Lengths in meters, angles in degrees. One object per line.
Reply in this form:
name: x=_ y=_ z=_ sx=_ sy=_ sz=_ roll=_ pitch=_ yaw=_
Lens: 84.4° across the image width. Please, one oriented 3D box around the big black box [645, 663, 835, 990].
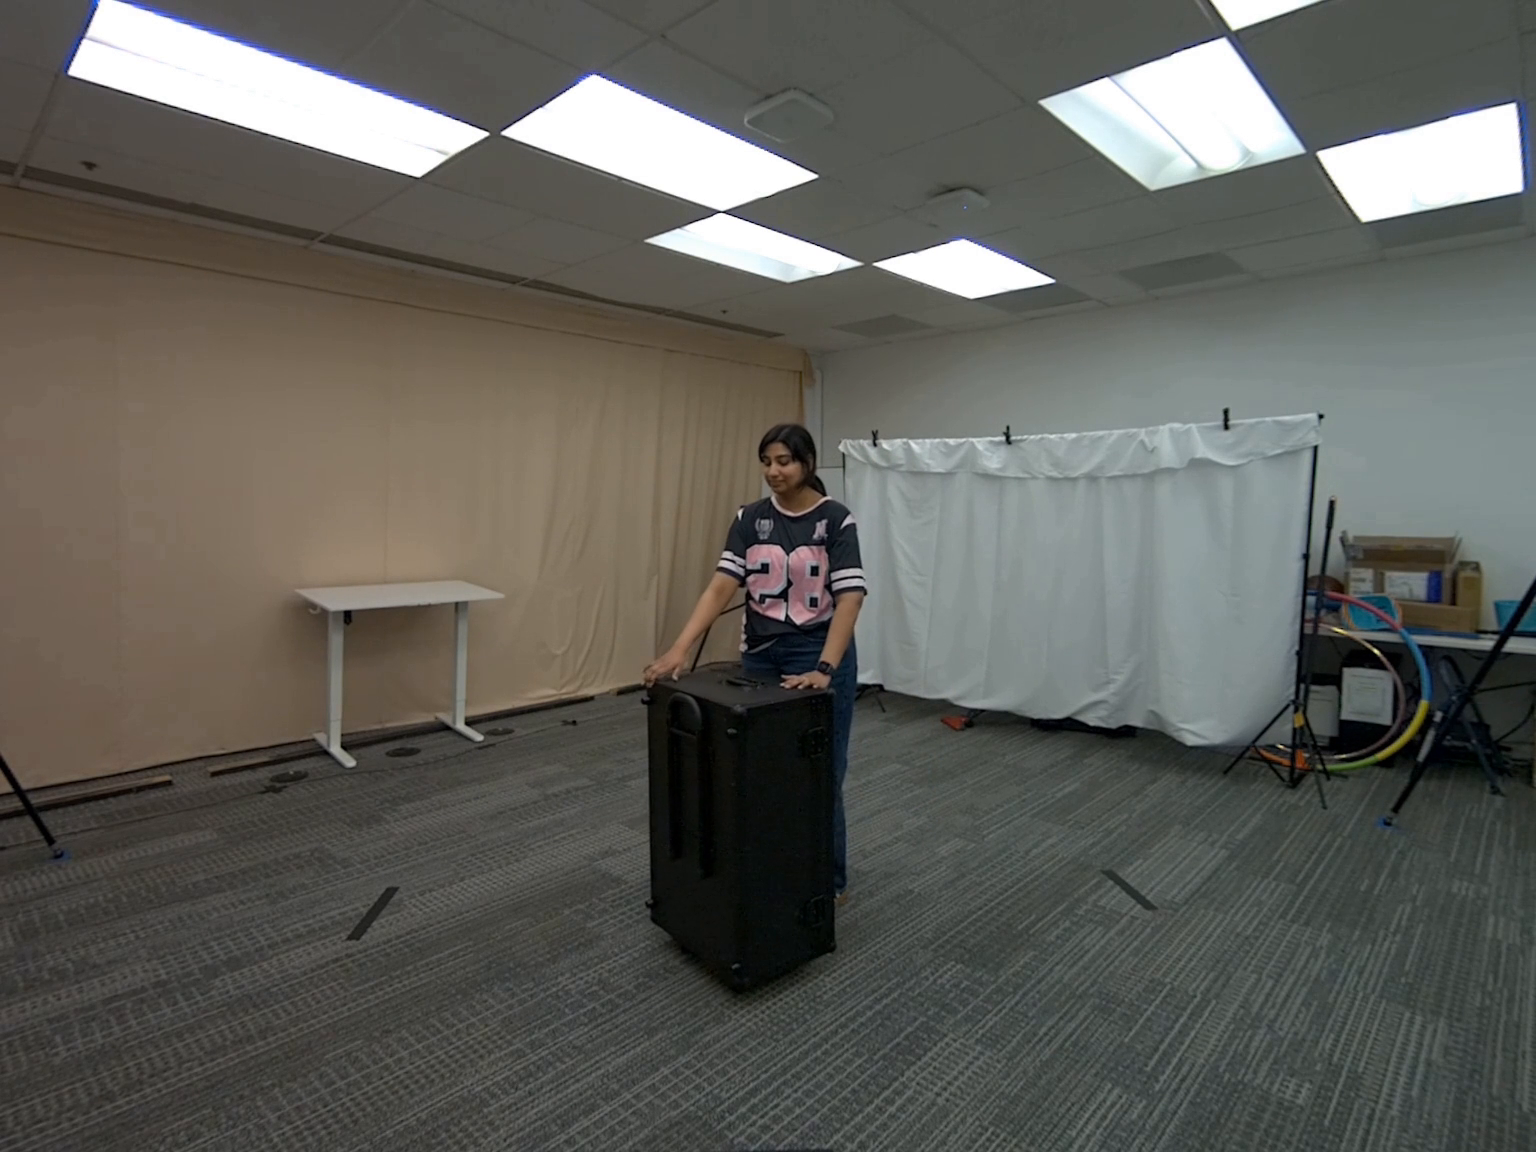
big black box: x=-0.079 y=0.756 z=2.566 sx=0.374 sy=0.866 sz=0.540 roll=-3 pitch=4 yaw=-37
